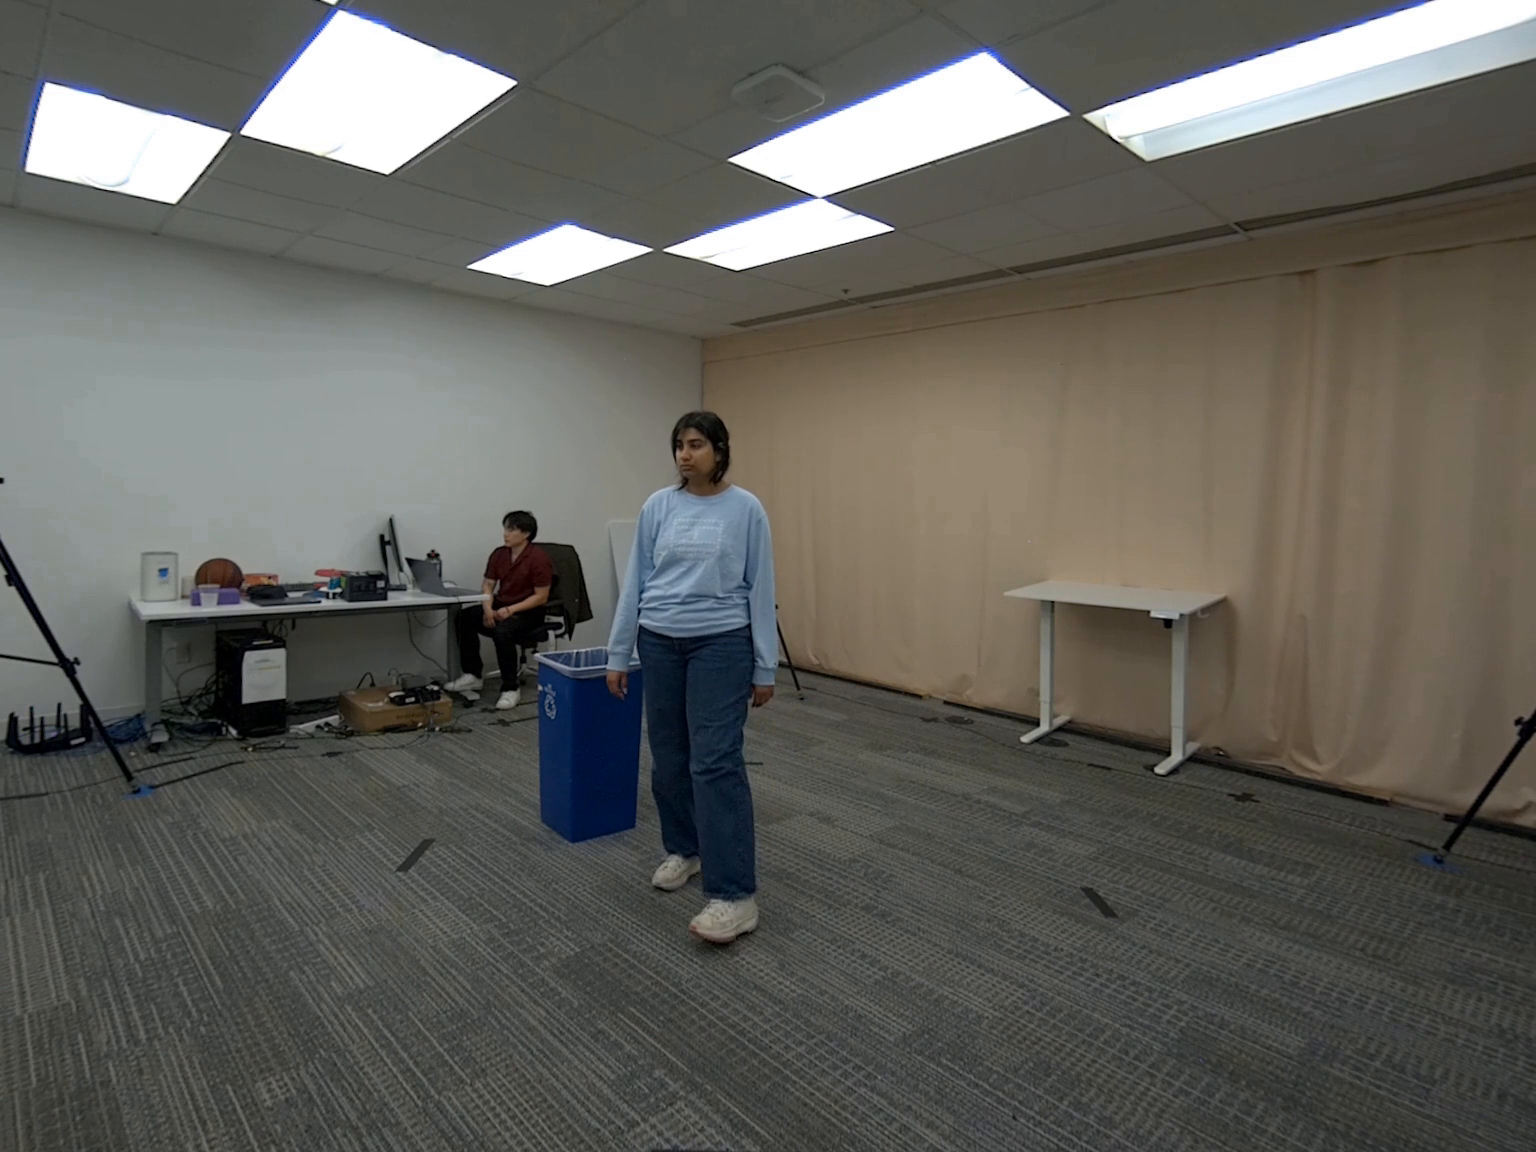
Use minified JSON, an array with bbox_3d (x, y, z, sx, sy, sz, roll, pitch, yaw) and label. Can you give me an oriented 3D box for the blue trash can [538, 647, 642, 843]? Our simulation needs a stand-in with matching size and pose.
[{"bbox_3d":[-0.761,0.696,3.536,0.365,0.712,0.388,-1,5,-40],"label":"blue trash can"}]
